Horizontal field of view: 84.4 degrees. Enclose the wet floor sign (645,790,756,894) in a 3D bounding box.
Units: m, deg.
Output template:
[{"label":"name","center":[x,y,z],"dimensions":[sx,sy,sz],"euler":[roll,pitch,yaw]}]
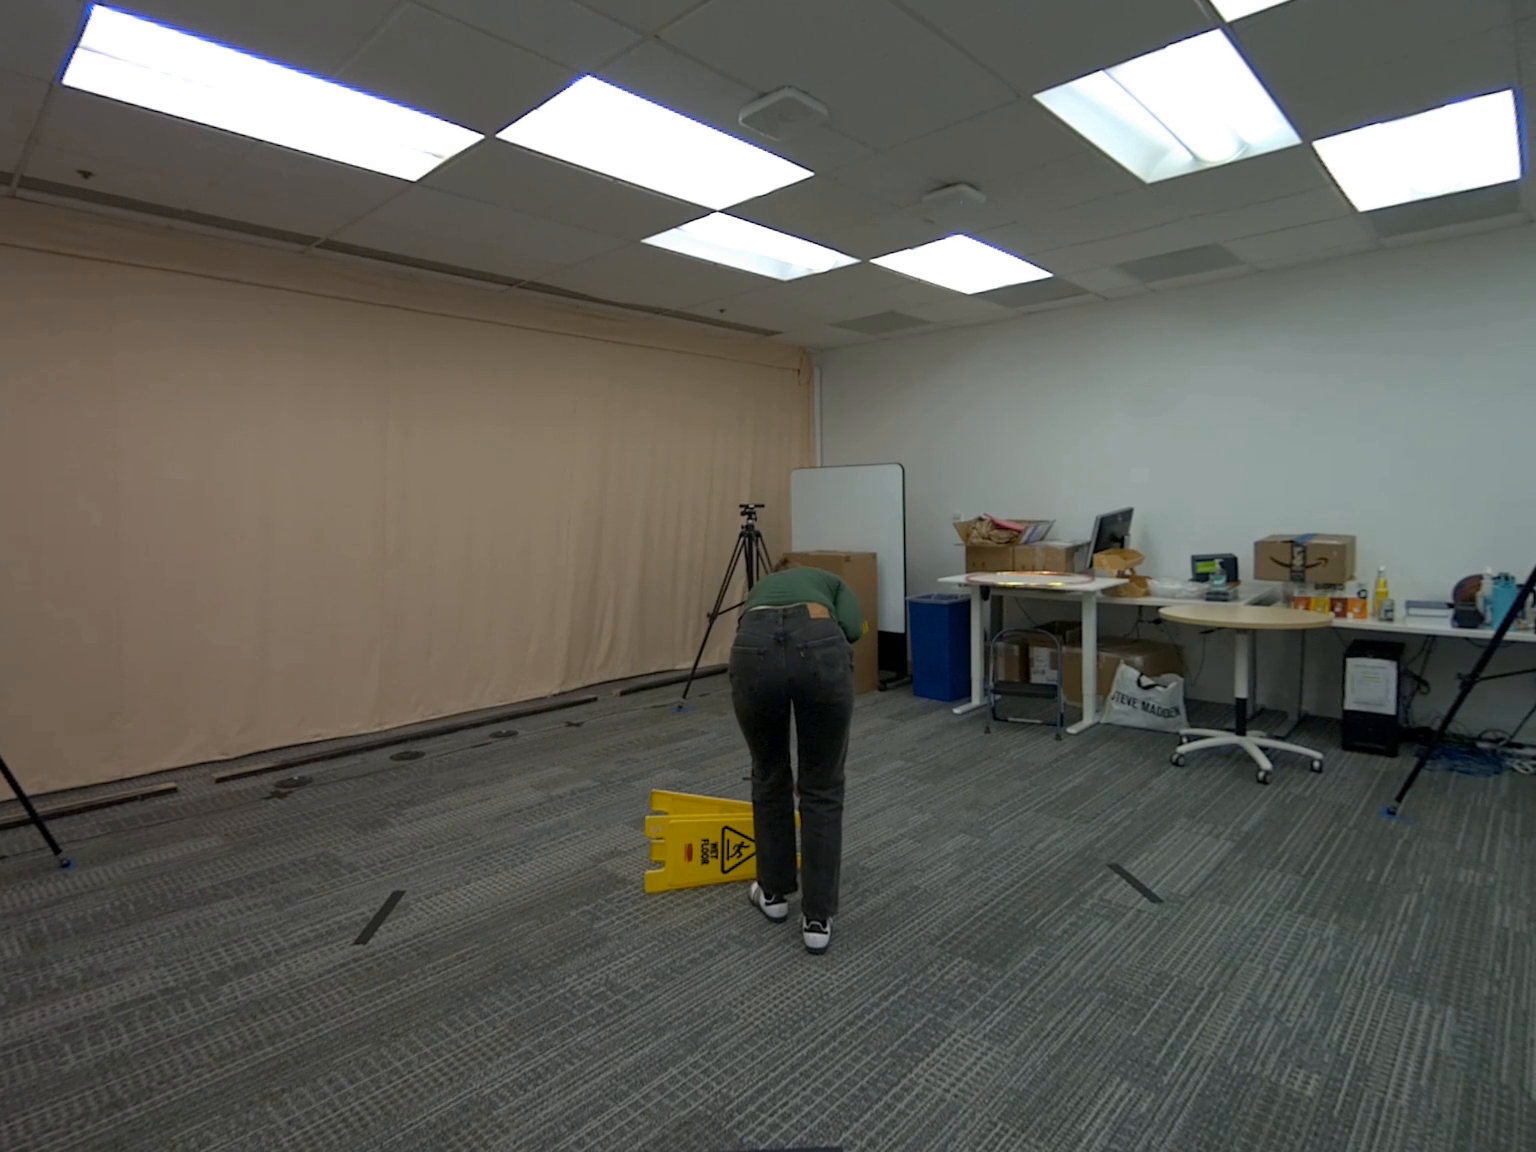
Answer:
[{"label":"wet floor sign","center":[-0.126,0.992,3.184],"dimensions":[0.645,0.282,0.291],"euler":[1,3,-2]}]
